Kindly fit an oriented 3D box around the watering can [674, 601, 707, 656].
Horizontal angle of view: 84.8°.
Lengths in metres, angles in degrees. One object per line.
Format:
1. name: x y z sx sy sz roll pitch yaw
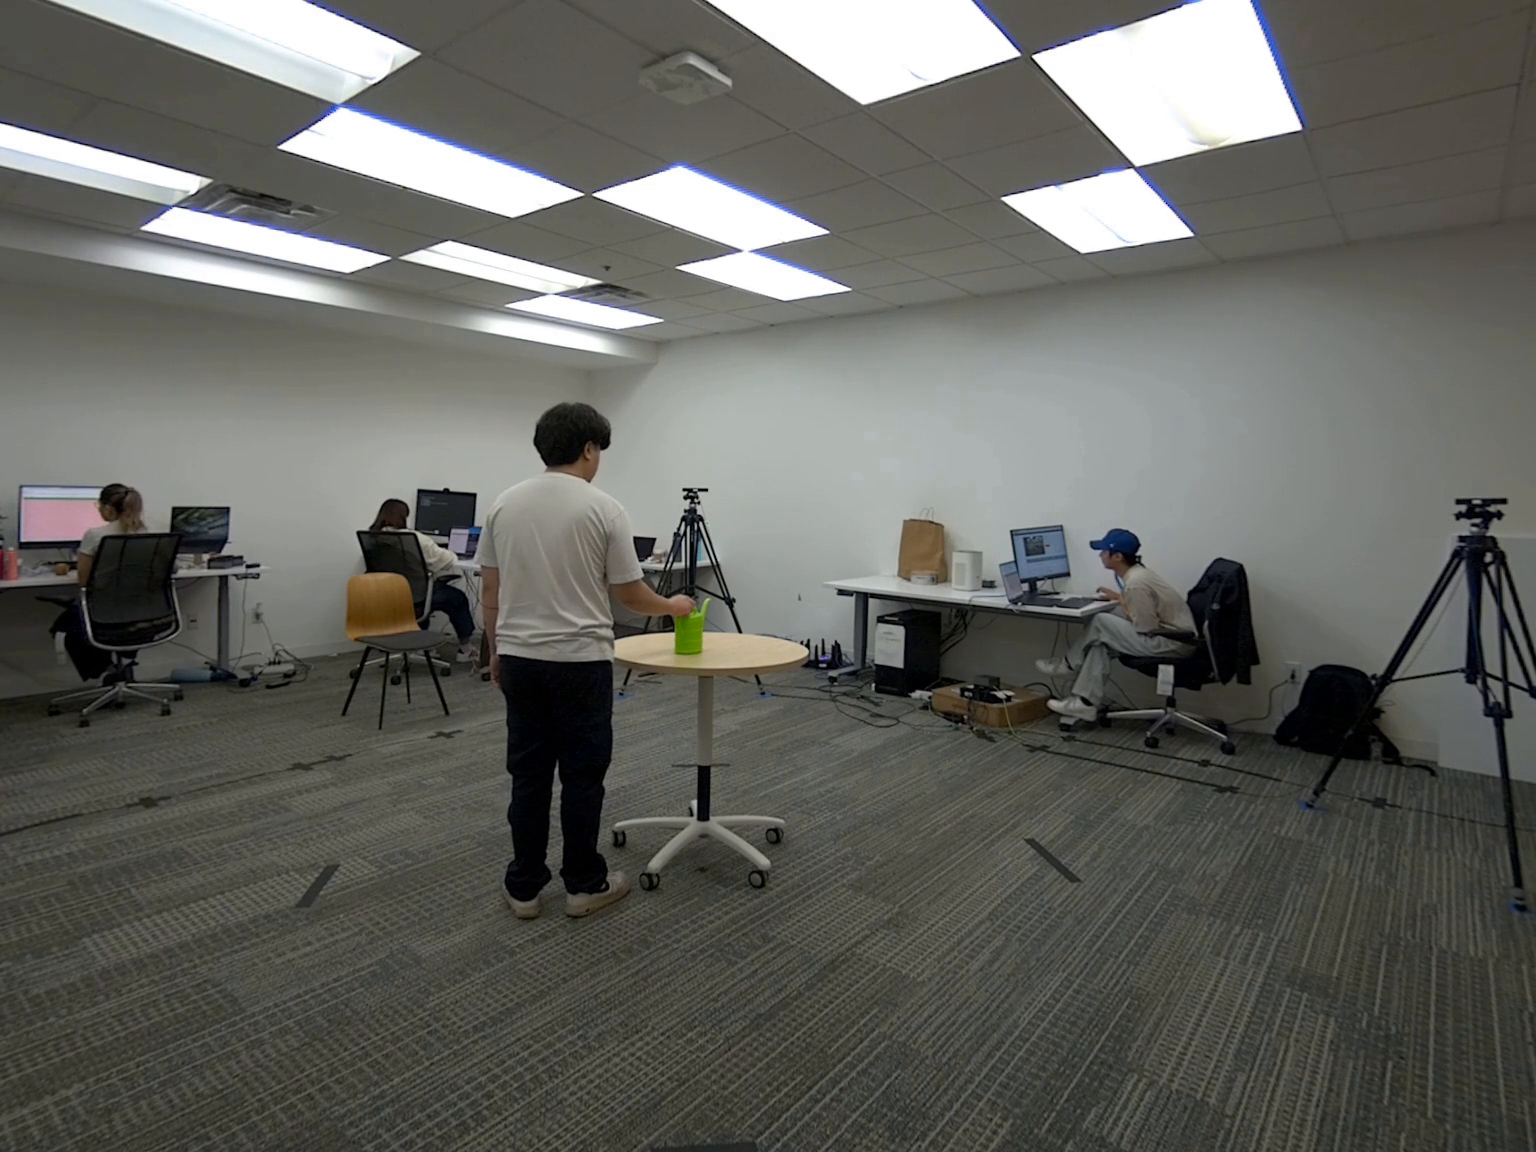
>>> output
1. watering can: -0.275 0.186 3.144 0.101 0.176 0.271 2 6 34
